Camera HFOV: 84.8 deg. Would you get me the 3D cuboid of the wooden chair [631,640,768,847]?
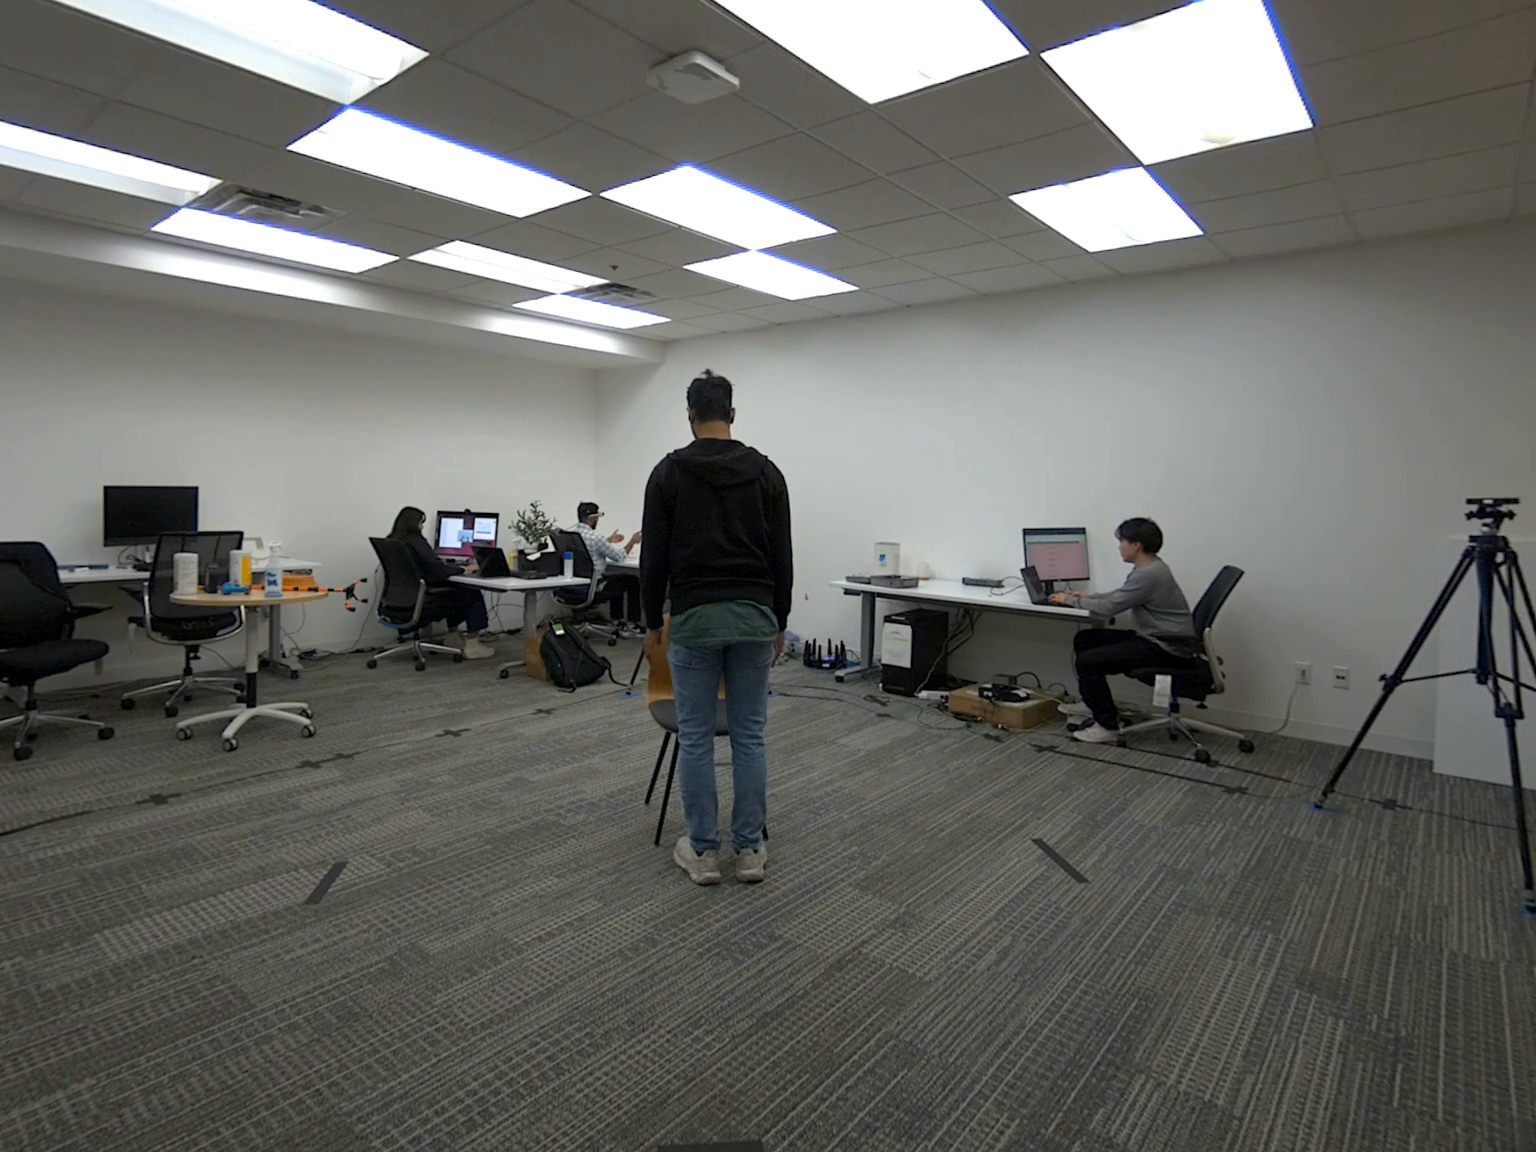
[{"bbox_3d":[-0.271,0.592,3.523,0.472,0.879,0.529,1,-1,-12],"label":"wooden chair"}]
